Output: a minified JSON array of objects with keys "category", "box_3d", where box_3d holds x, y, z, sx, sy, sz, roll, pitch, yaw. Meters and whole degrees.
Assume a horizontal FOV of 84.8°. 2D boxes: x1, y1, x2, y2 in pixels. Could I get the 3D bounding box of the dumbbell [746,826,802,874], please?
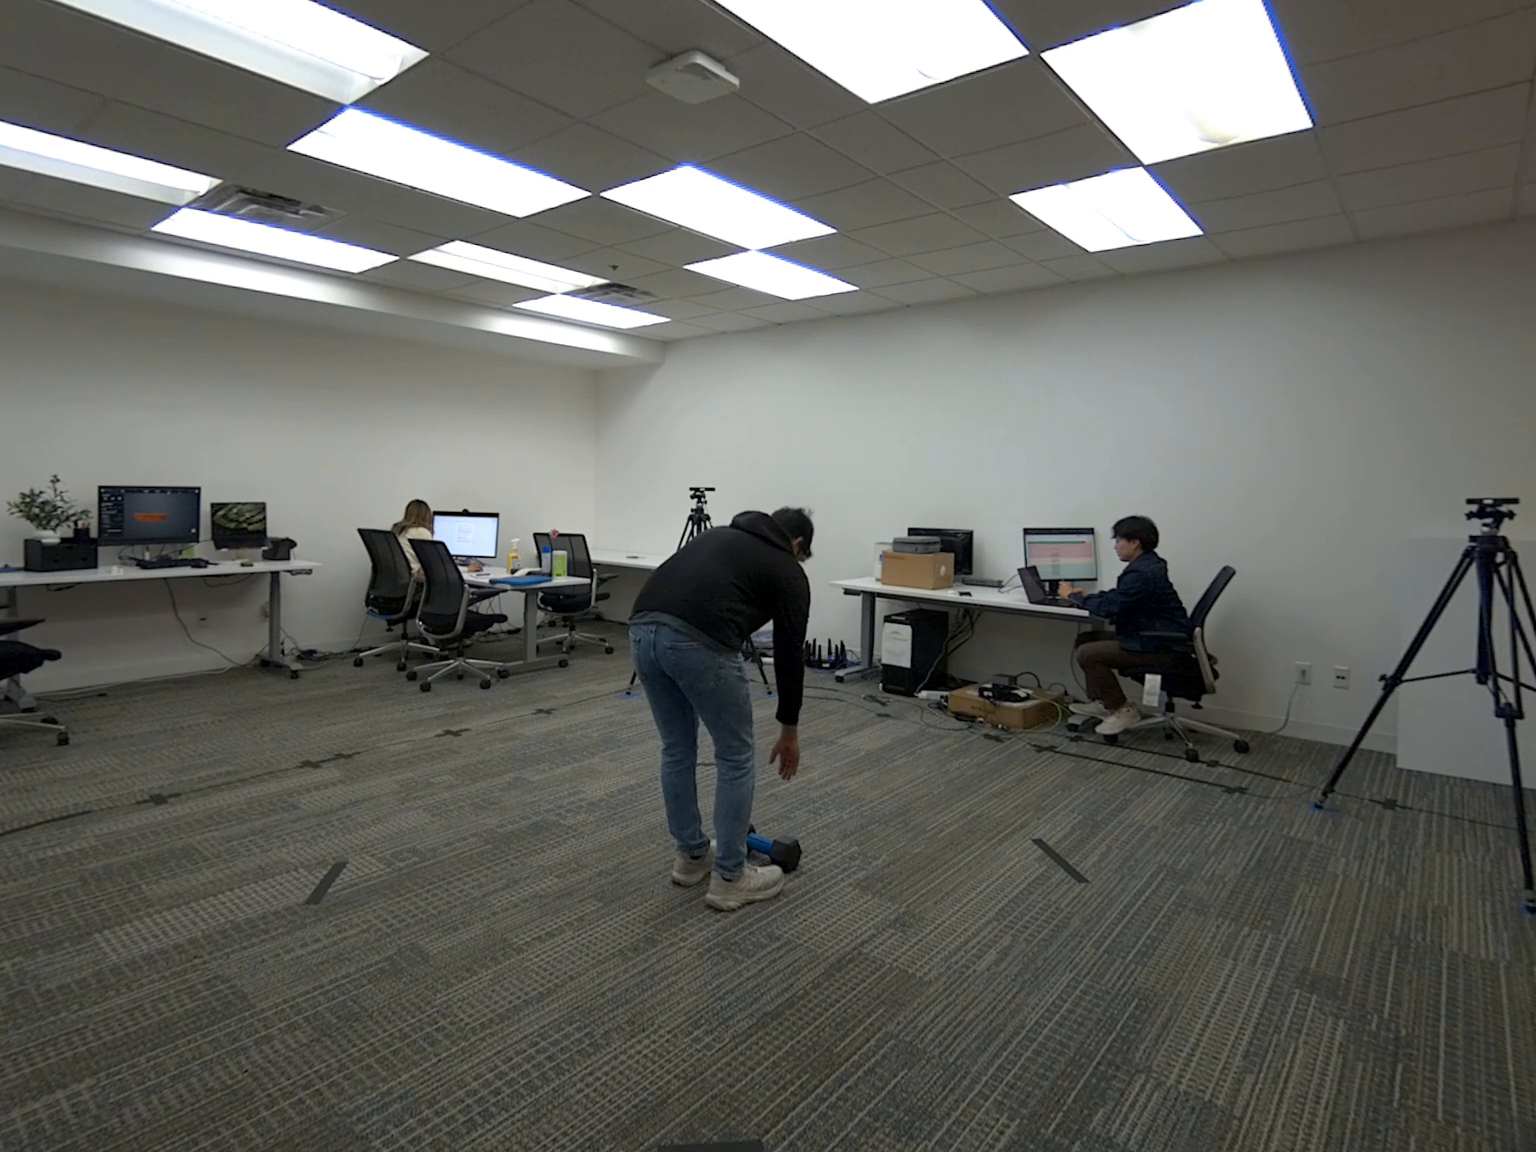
[{"category":"dumbbell","box_3d":[-0.028,1.007,3.194,0.303,0.119,0.108,5,36,39]}]
